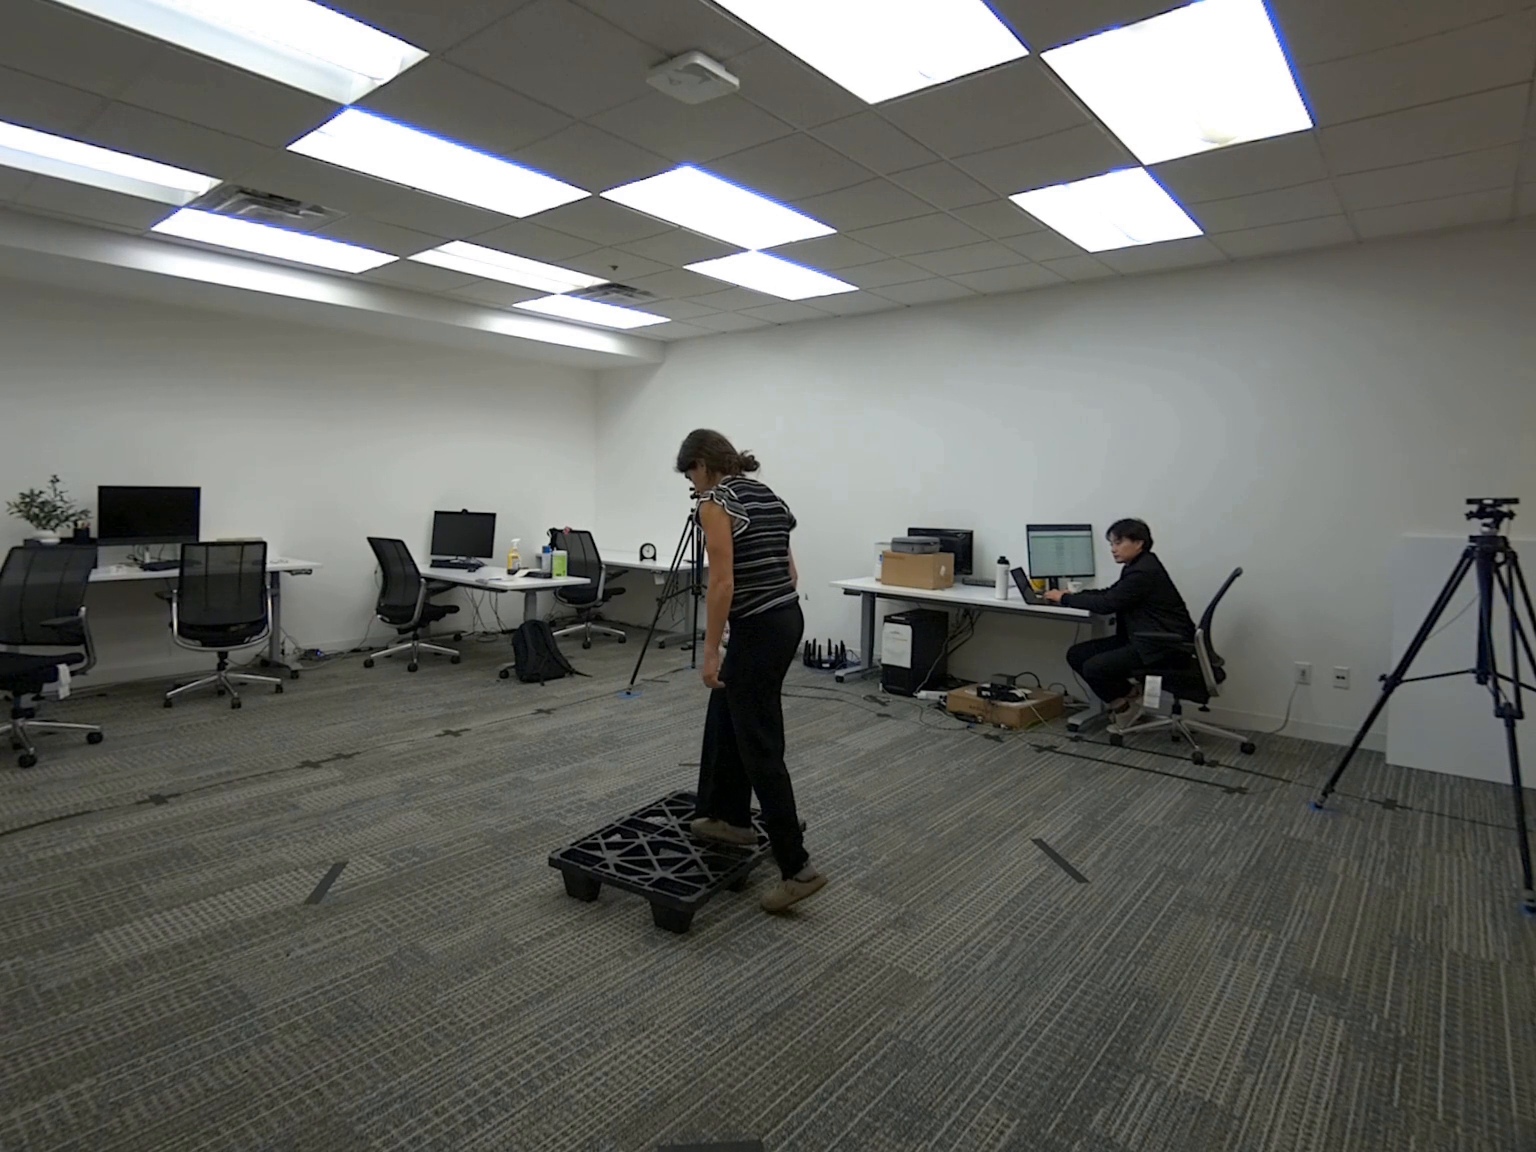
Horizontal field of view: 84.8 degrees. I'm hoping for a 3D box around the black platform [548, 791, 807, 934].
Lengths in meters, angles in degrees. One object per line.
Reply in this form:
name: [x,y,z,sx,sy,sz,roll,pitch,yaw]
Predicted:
black platform: [-0.317,1.000,3.066,0.623,0.143,0.785,3,5,29]
